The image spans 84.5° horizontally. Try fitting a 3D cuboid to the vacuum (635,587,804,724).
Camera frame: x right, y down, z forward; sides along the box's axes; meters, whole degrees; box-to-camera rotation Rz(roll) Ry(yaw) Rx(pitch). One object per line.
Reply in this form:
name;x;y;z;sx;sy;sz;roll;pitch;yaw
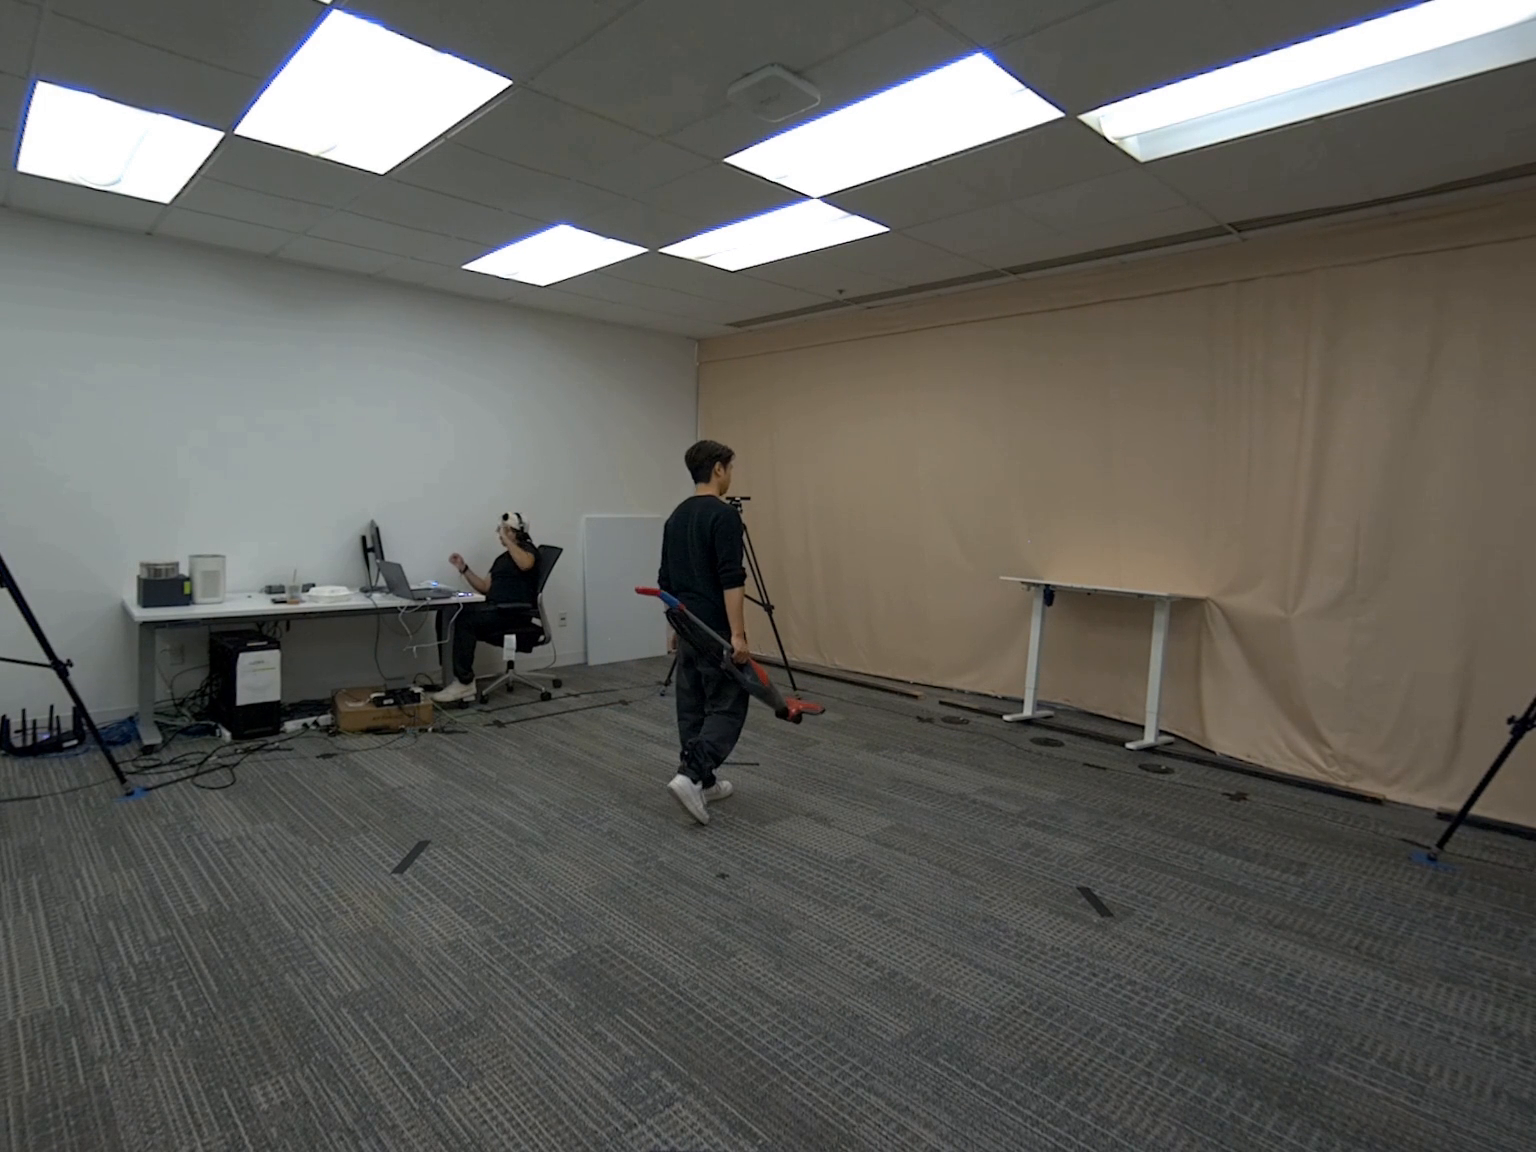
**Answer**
vacuum;-0.190;0.341;3.549;0.258;0.145;1.018;-4;-36;45
